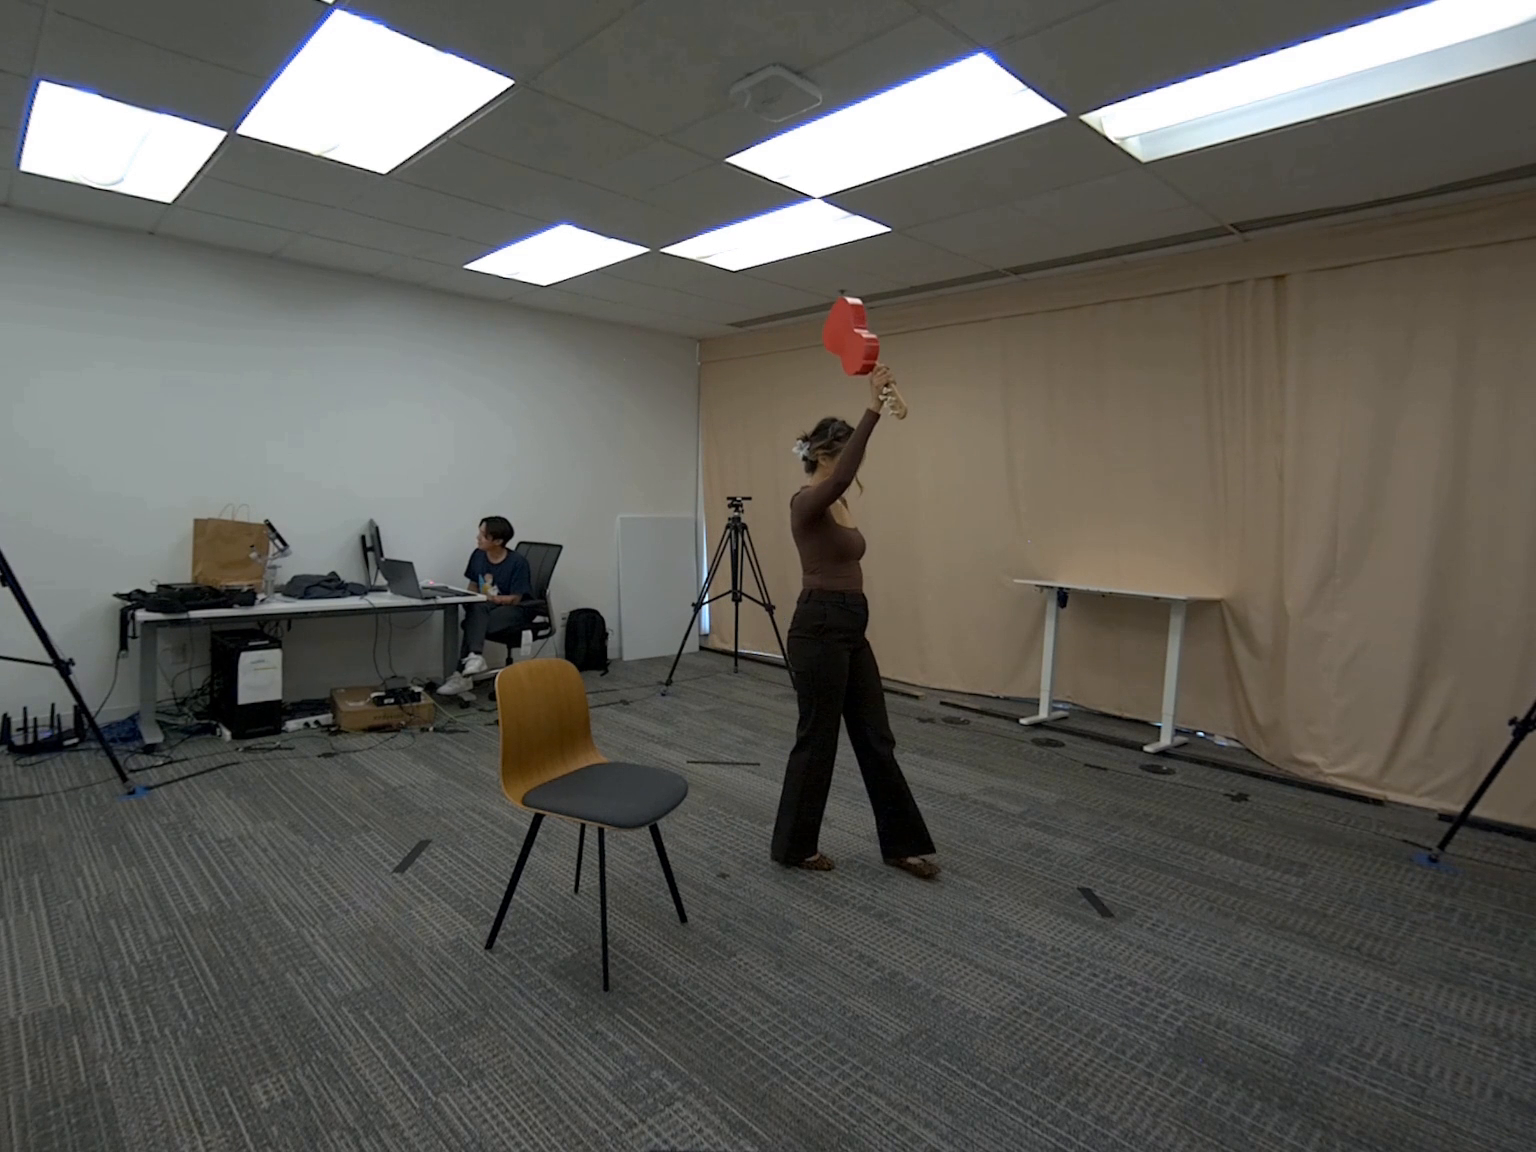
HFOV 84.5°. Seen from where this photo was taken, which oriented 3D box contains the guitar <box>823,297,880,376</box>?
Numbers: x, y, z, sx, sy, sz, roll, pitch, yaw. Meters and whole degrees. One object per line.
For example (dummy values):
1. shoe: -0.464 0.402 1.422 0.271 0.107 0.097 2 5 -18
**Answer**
1. guitar: 0.325 -0.719 2.733 0.069 0.190 0.513 -5 46 -25
